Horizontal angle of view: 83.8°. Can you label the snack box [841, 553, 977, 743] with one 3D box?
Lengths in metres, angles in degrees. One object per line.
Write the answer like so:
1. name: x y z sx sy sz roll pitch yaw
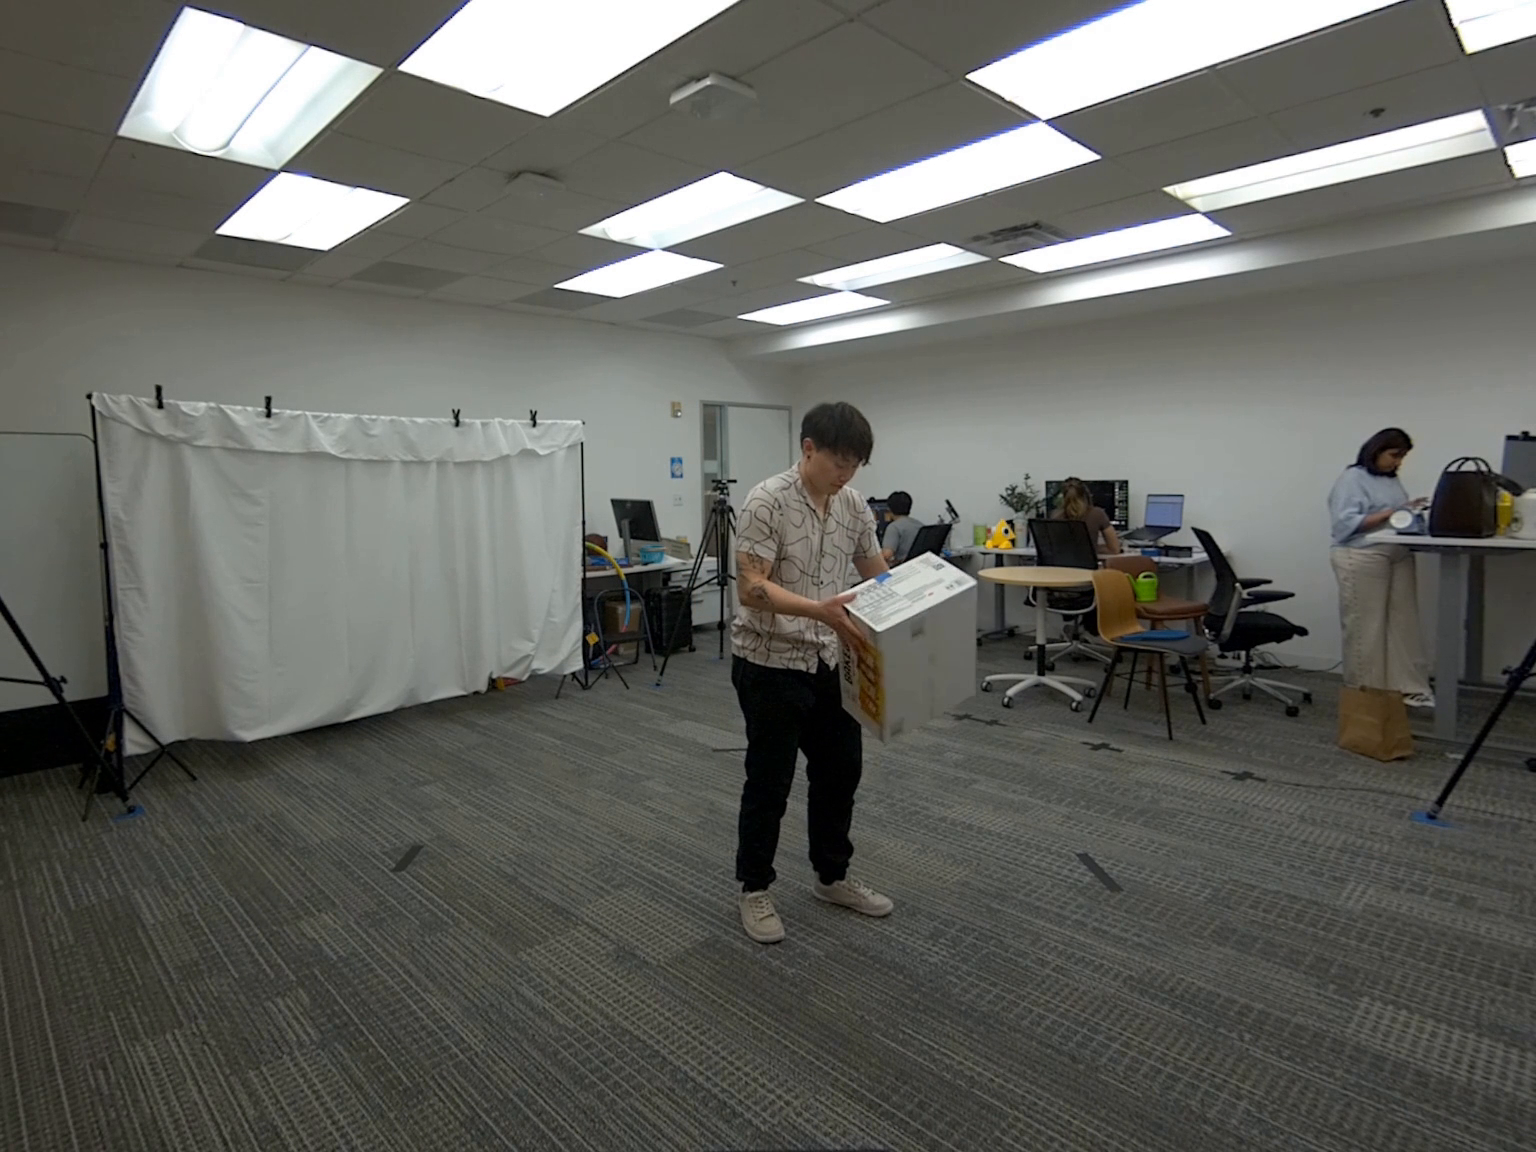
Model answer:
1. snack box: 0.393 0.208 2.409 0.337 0.394 0.214 -23 35 -21
